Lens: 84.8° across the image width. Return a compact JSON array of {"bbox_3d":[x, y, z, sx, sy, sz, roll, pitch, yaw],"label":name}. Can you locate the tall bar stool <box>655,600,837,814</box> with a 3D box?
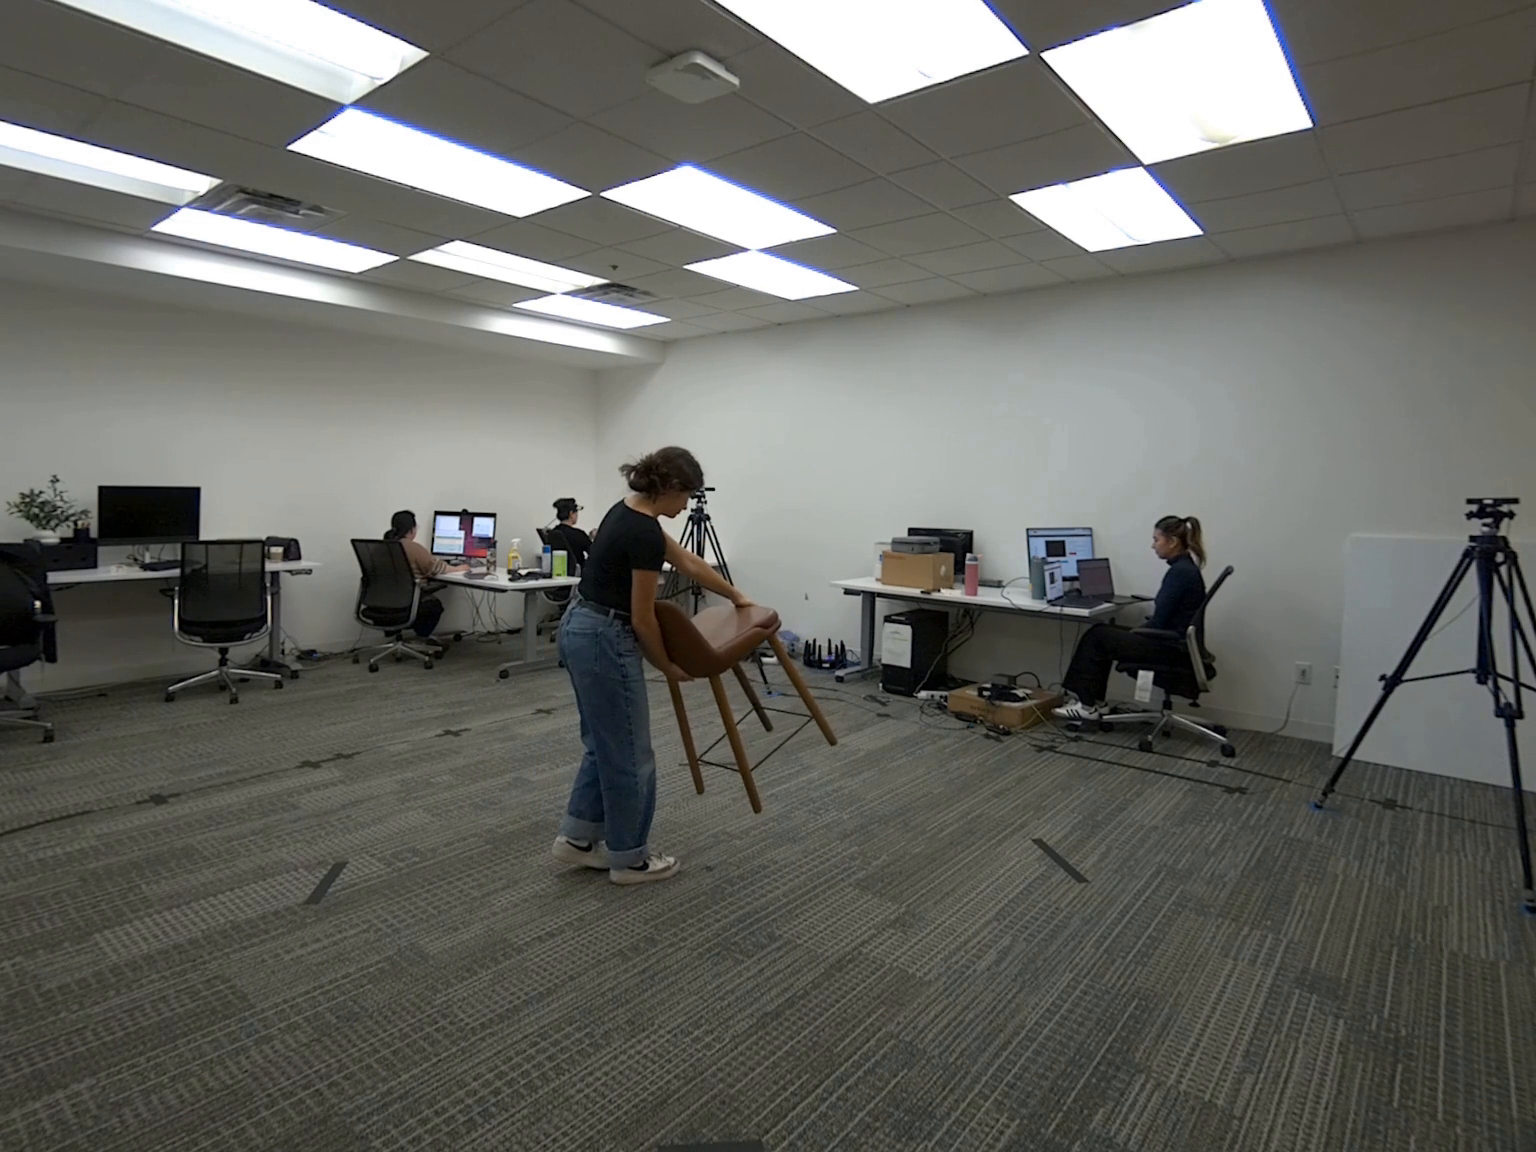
[{"bbox_3d":[-0.183,0.375,3.217,0.463,0.873,0.469,-35,18,-34],"label":"tall bar stool"}]
